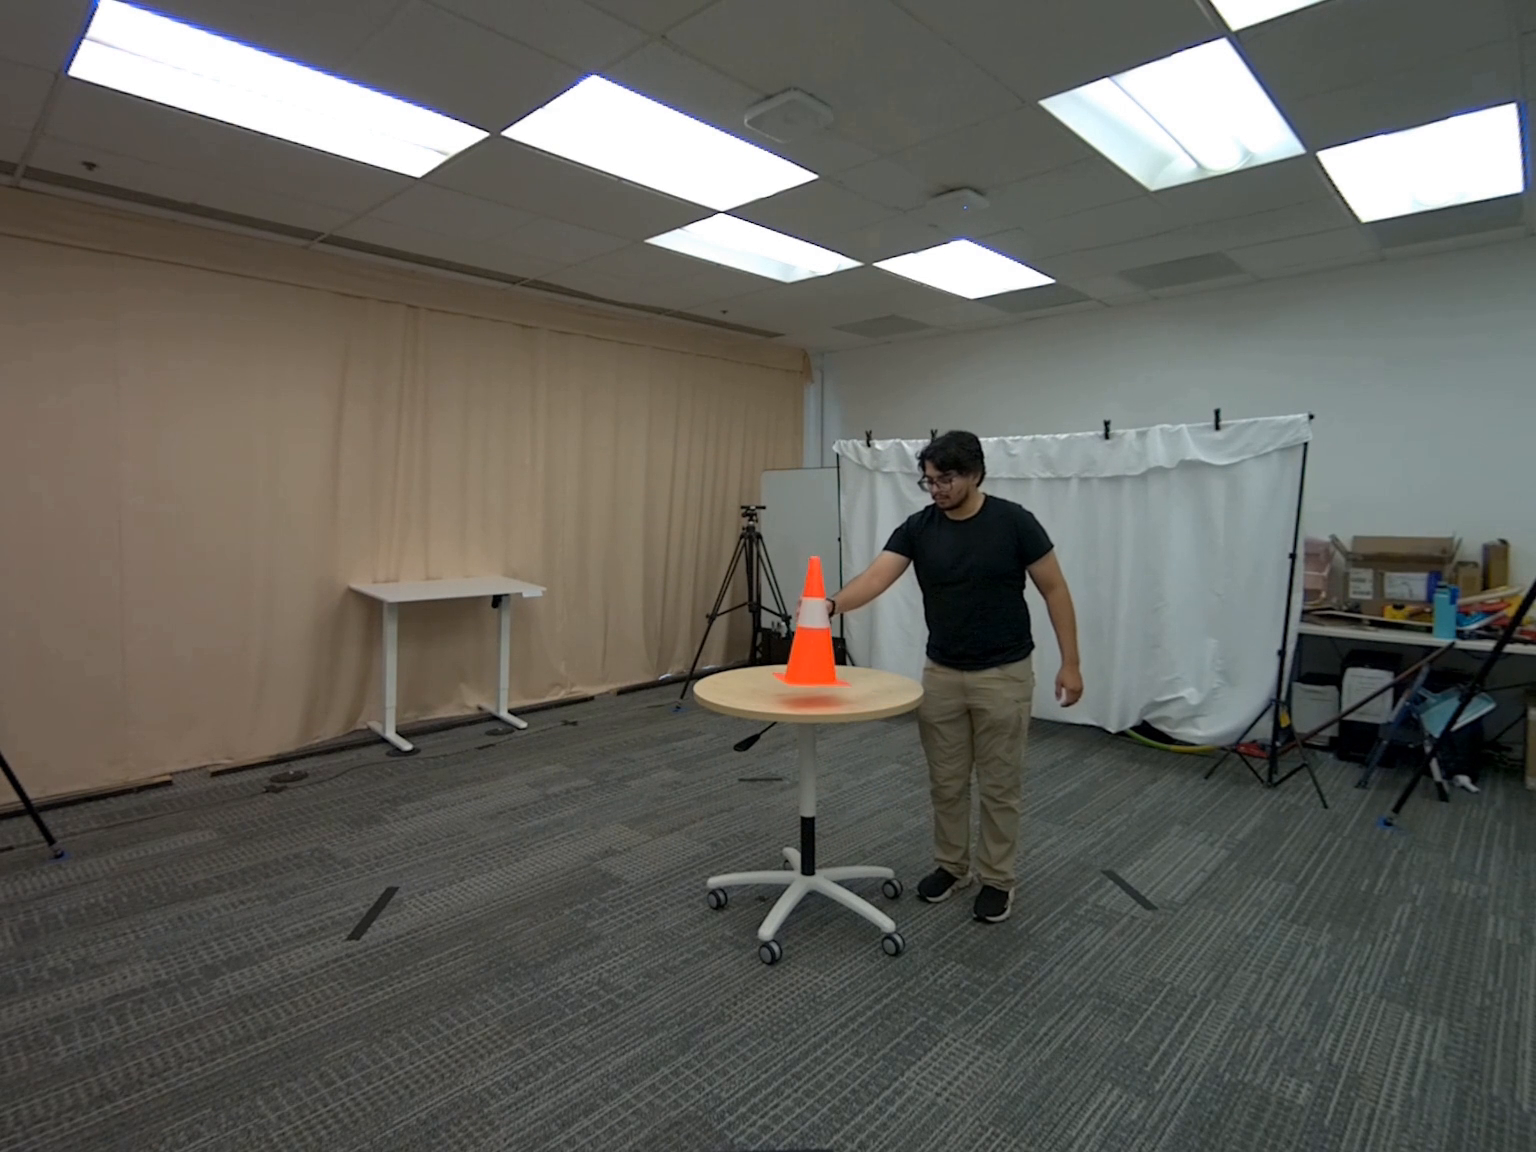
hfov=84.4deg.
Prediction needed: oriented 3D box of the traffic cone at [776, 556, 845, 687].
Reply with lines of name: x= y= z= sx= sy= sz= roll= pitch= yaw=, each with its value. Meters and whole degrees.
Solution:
traffic cone: x=0.154 y=0.141 z=2.608 sx=0.199 sy=0.384 sz=0.209 roll=2 pitch=-1 yaw=-21
